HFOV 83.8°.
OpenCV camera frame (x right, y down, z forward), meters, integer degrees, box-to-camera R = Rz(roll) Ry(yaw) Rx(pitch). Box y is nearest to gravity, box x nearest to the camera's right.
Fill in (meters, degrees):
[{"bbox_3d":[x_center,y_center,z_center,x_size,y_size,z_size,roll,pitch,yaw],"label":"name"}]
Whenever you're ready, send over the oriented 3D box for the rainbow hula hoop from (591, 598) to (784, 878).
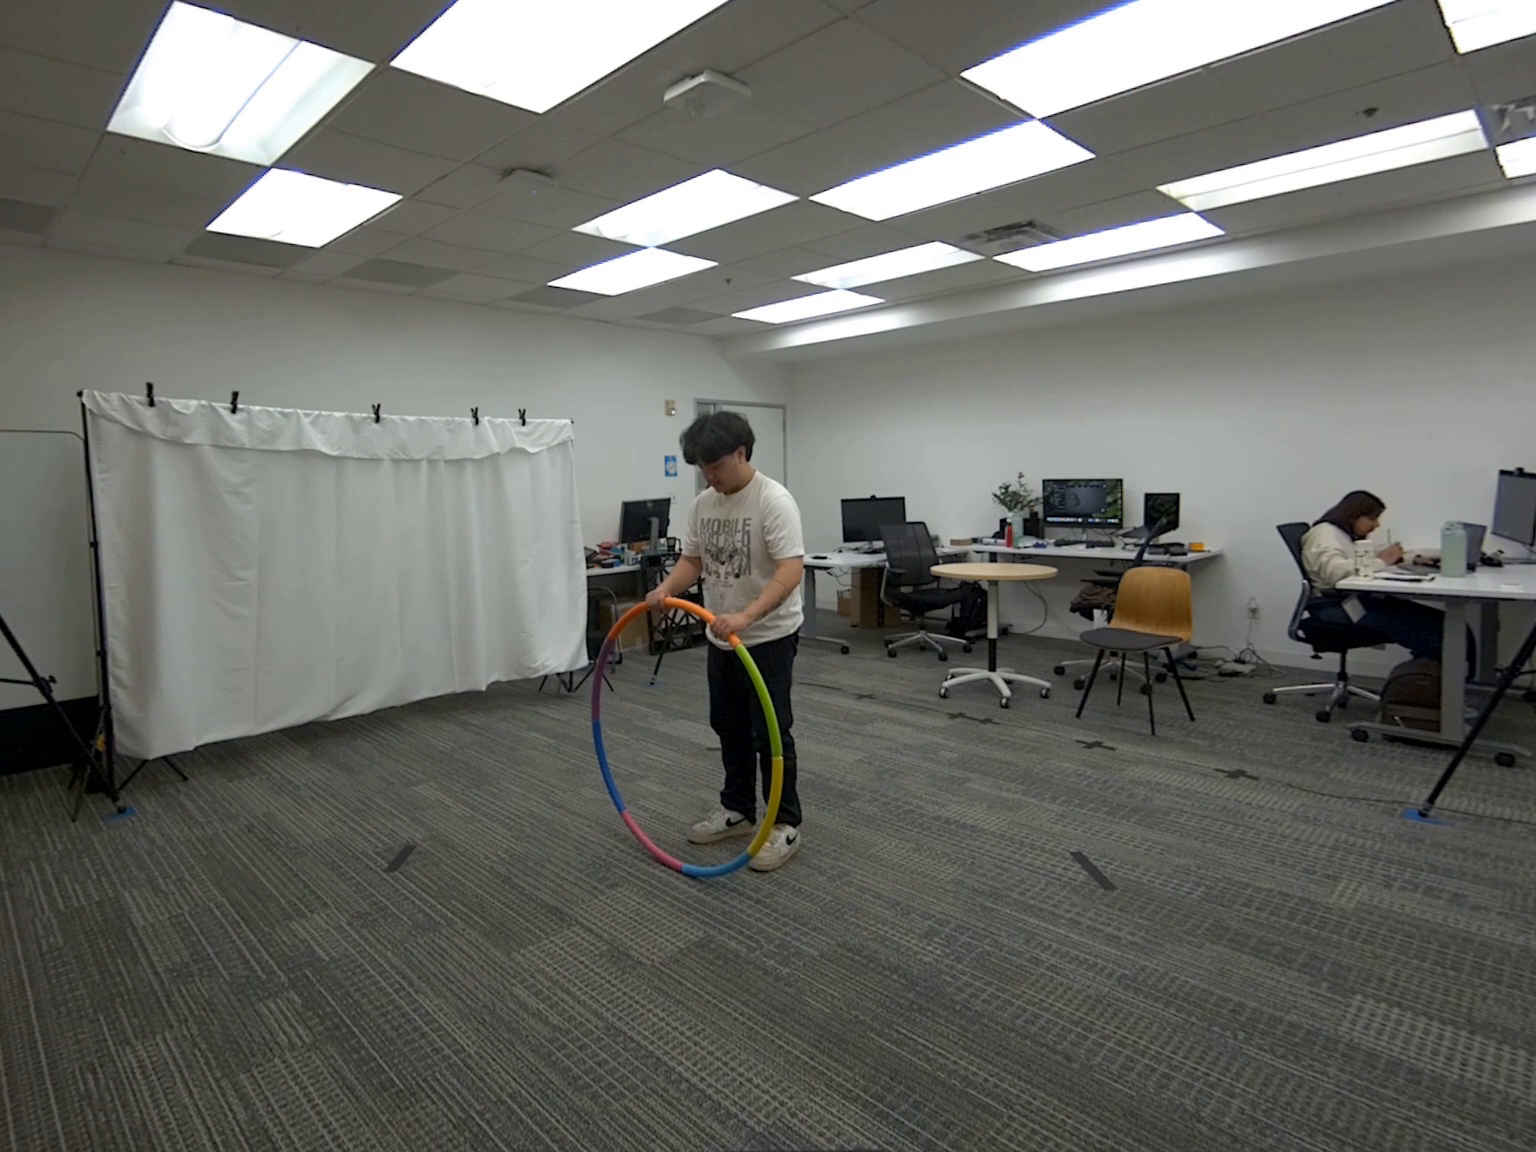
[{"bbox_3d":[-0.325,0.568,3.036,1.016,0.982,0.050,4,5,44],"label":"rainbow hula hoop"}]
